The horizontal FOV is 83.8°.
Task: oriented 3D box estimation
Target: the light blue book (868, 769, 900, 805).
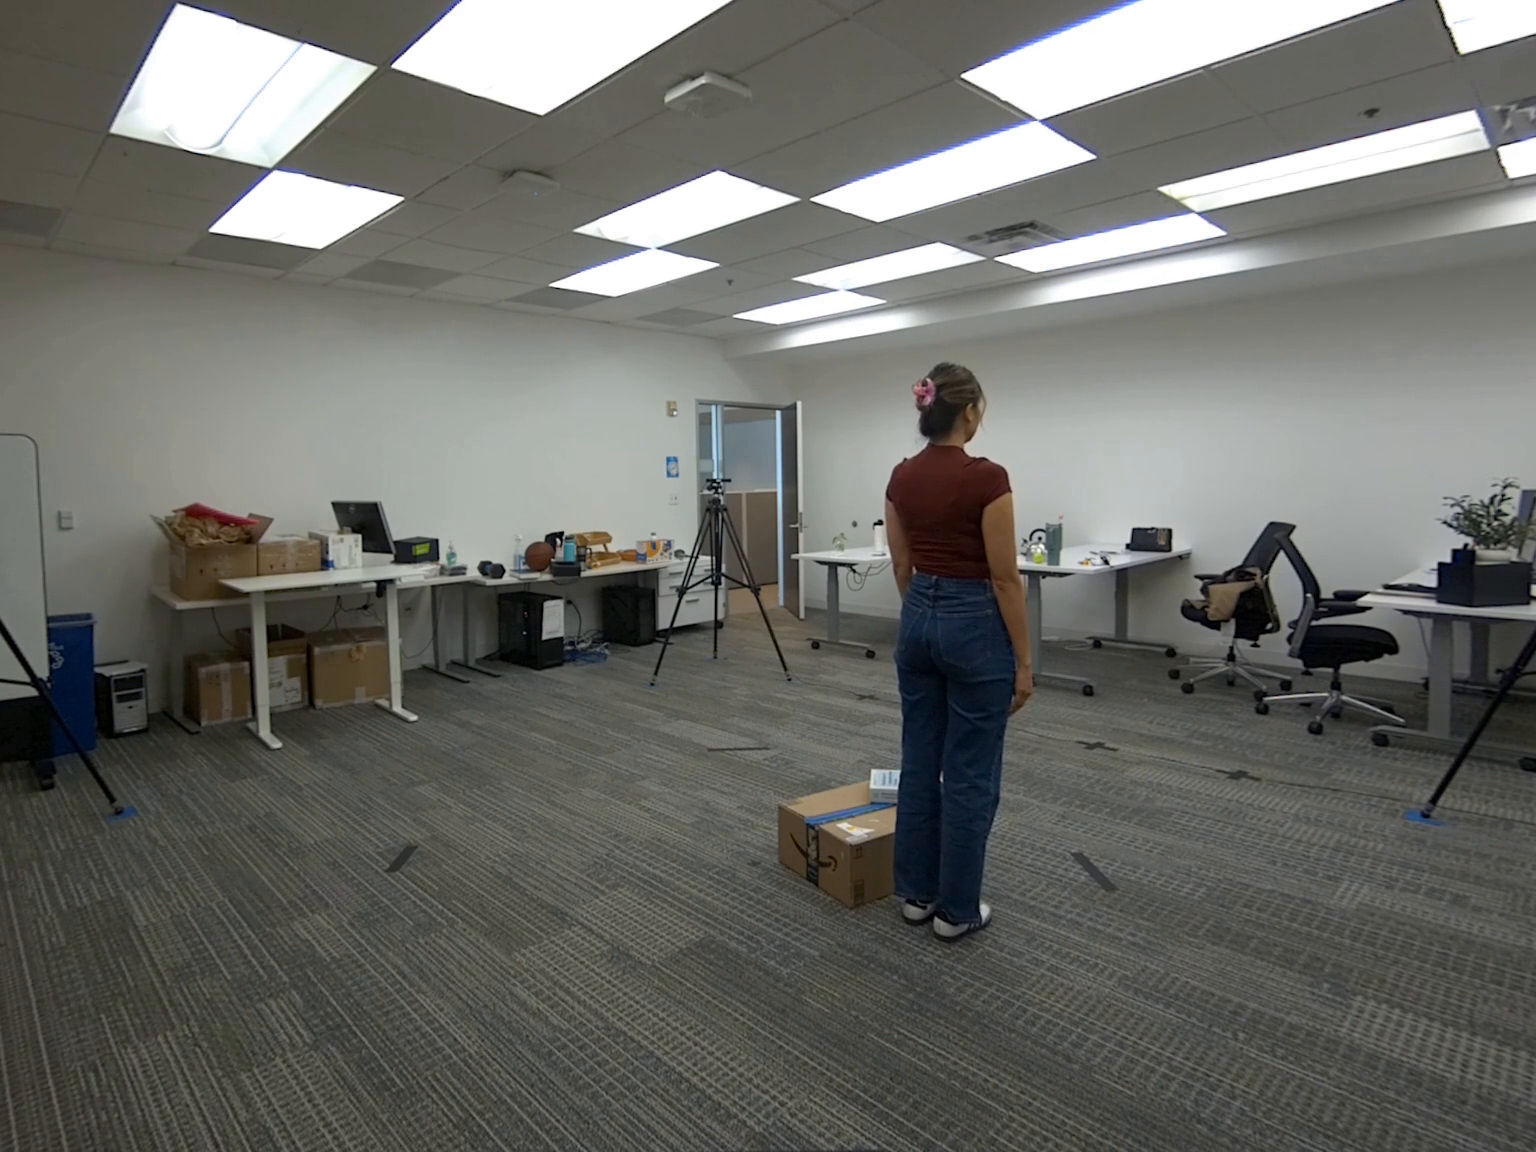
[{"bbox_3d":[0.518,0.783,3.183,0.264,0.059,0.190,-1,7,11],"label":"light blue book"}]
